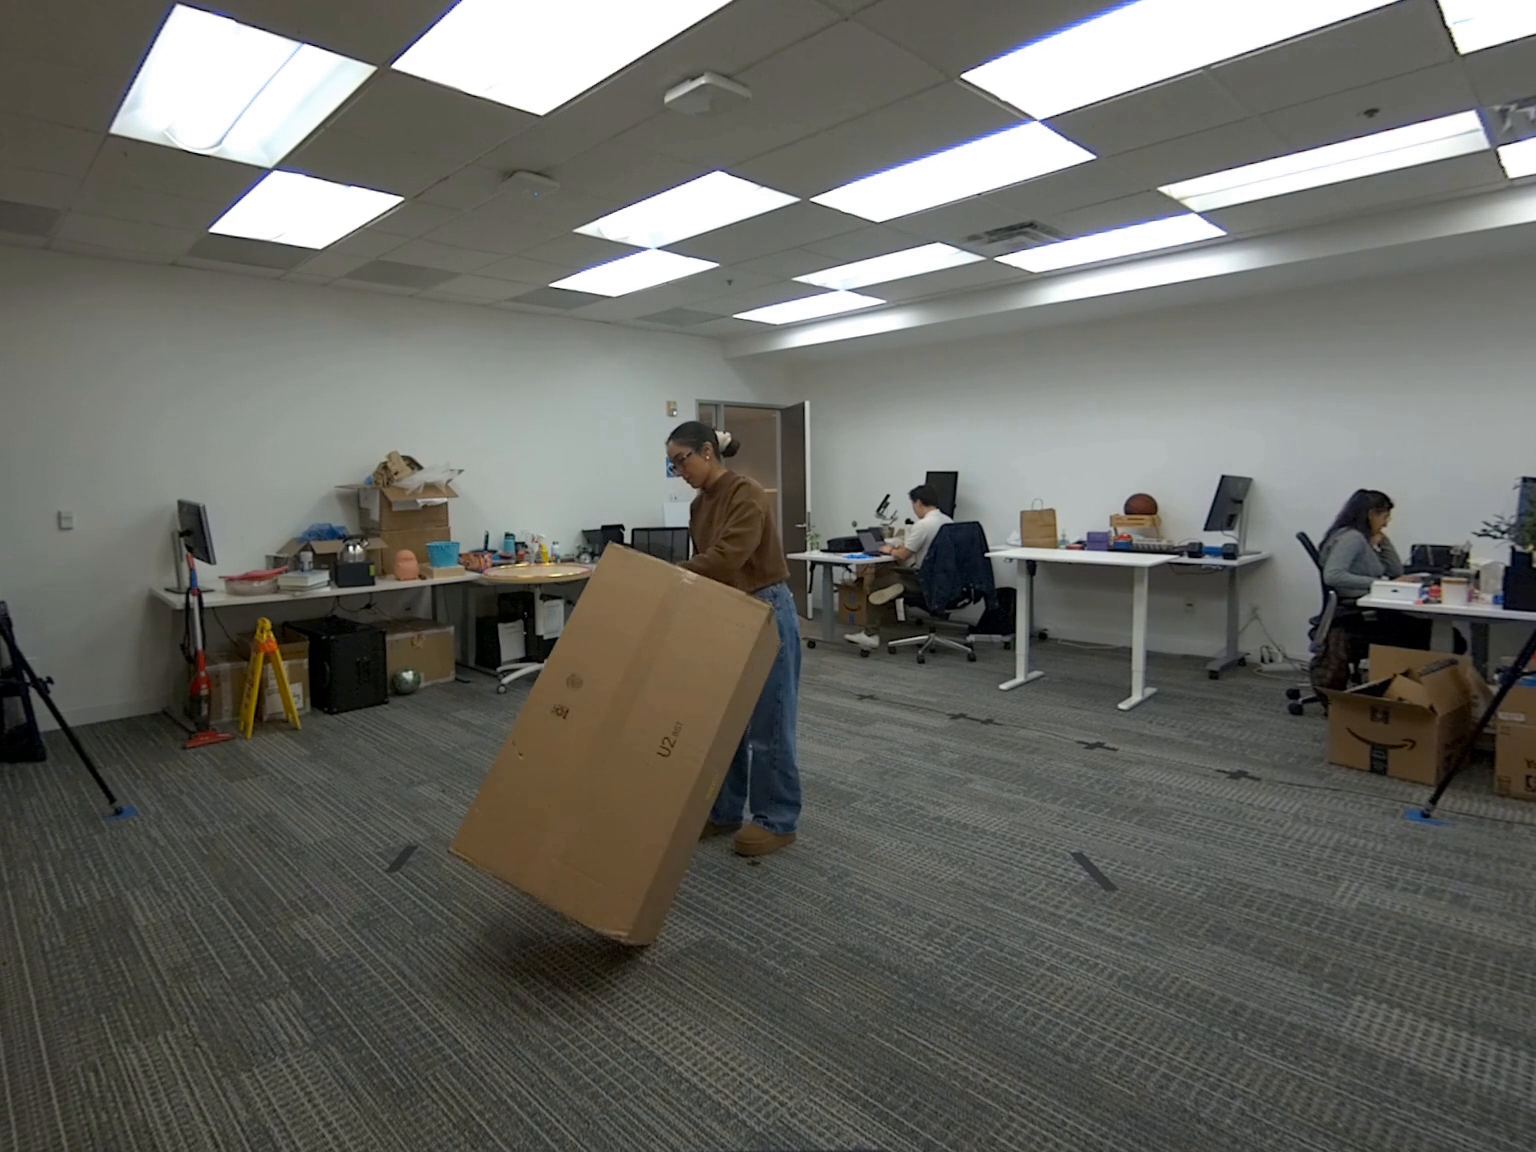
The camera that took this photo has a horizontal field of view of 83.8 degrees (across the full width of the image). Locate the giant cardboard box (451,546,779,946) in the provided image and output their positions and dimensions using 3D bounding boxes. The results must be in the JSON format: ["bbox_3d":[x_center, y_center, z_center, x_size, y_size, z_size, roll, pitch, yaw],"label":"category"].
[{"bbox_3d":[-0.424,0.512,2.670,0.594,1.035,0.436,19,-20,13],"label":"giant cardboard box"}]
